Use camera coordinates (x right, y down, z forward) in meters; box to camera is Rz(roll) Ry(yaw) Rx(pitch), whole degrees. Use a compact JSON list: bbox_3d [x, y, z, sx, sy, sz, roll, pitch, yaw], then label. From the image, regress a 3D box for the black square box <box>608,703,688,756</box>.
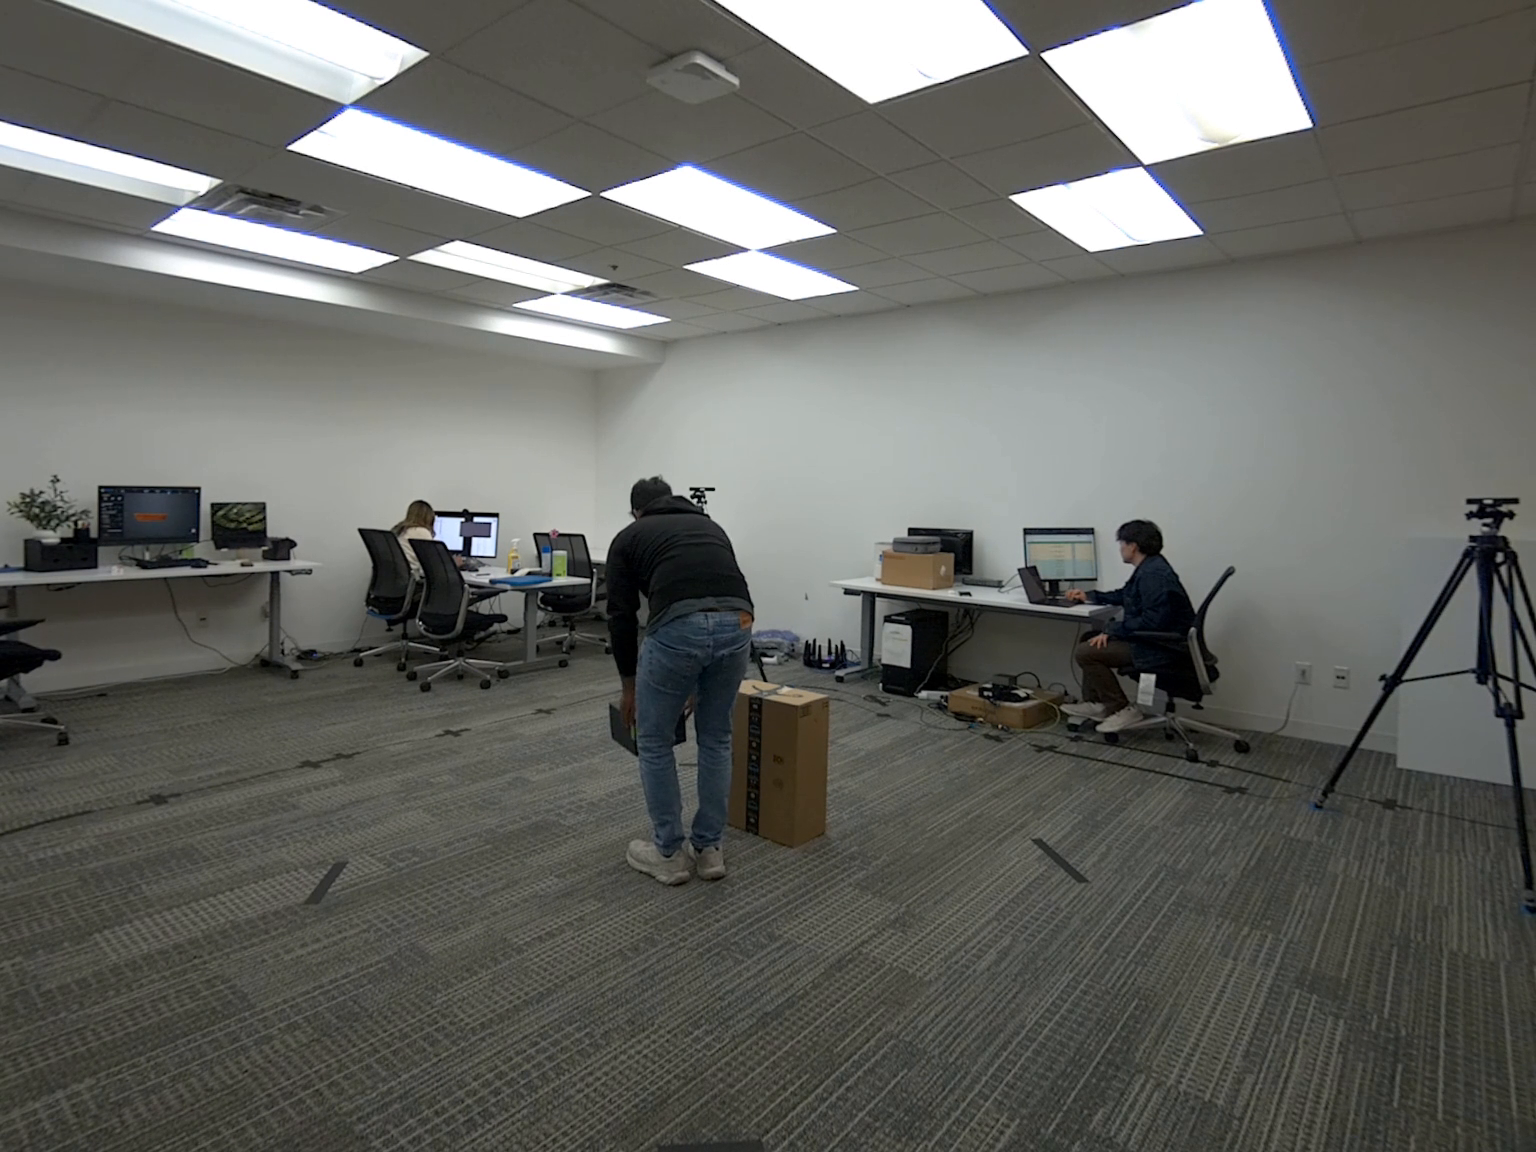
[{"bbox_3d":[-0.481,0.583,3.369,0.222,0.154,0.225,-10,15,-34],"label":"black square box"}]
